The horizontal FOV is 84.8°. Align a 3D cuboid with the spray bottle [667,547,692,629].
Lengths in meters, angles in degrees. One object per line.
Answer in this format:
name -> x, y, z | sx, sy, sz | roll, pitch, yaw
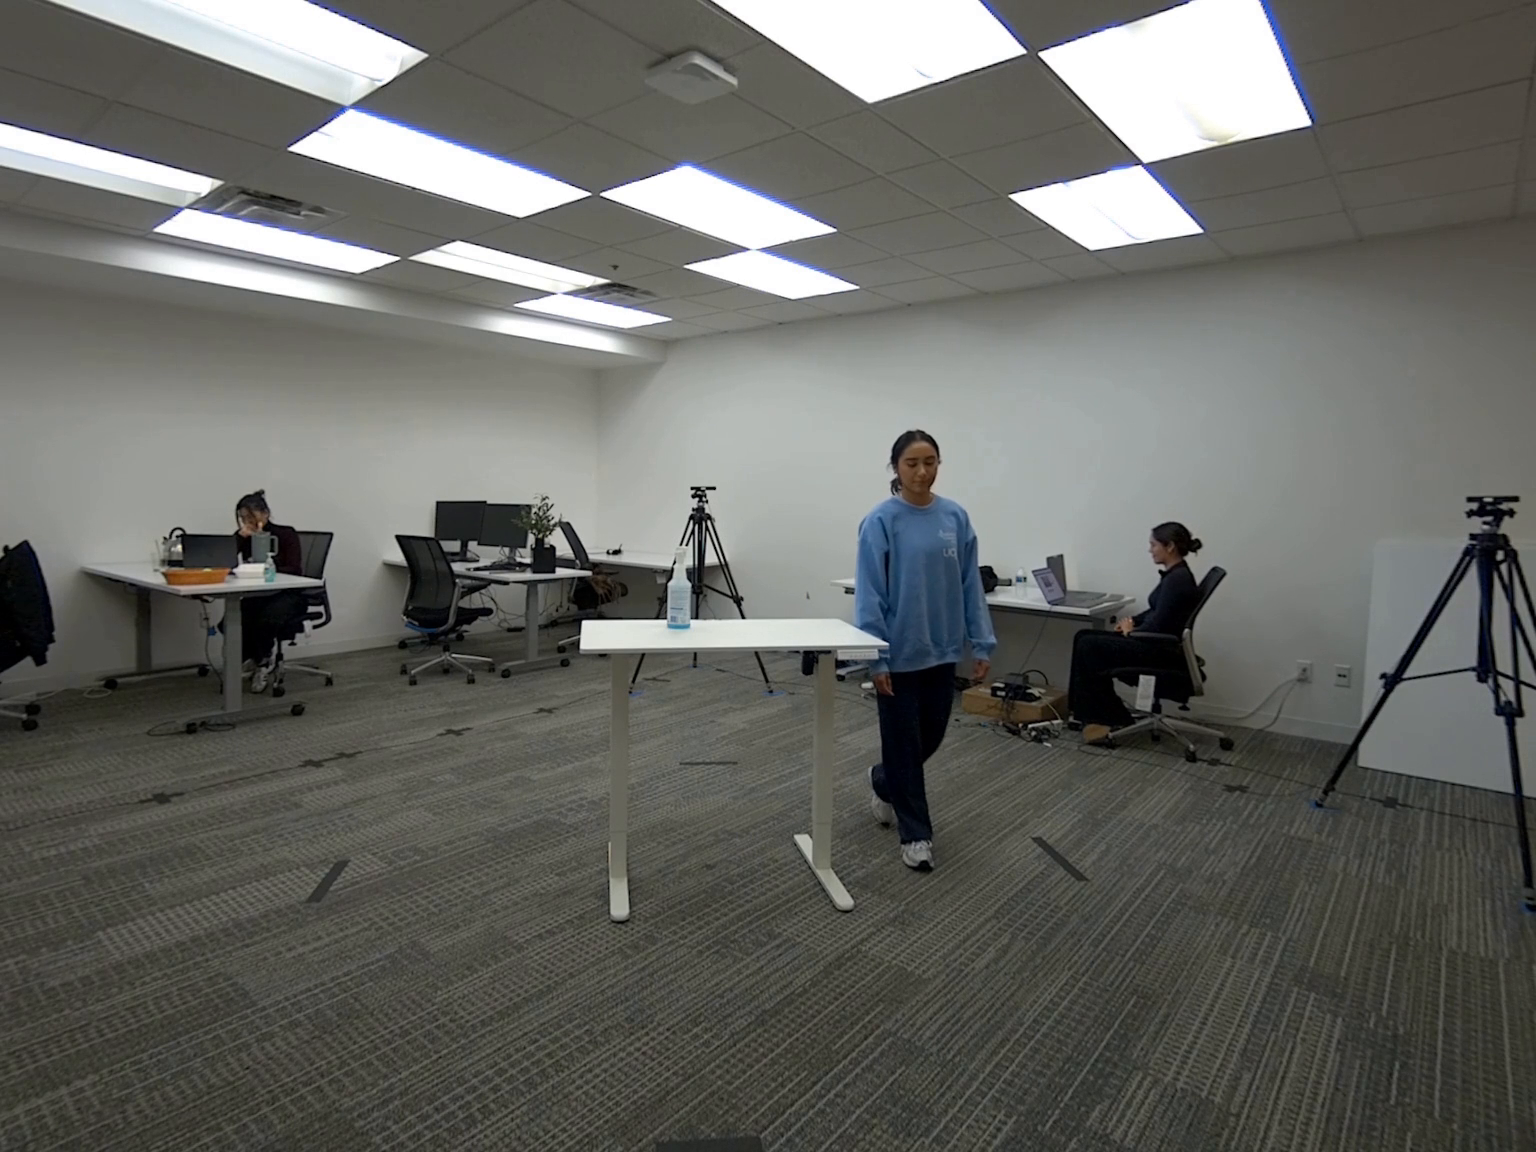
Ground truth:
spray bottle -> -0.329, 0.039, 3.089 | 0.087, 0.296, 0.090 | 1, 3, -4
